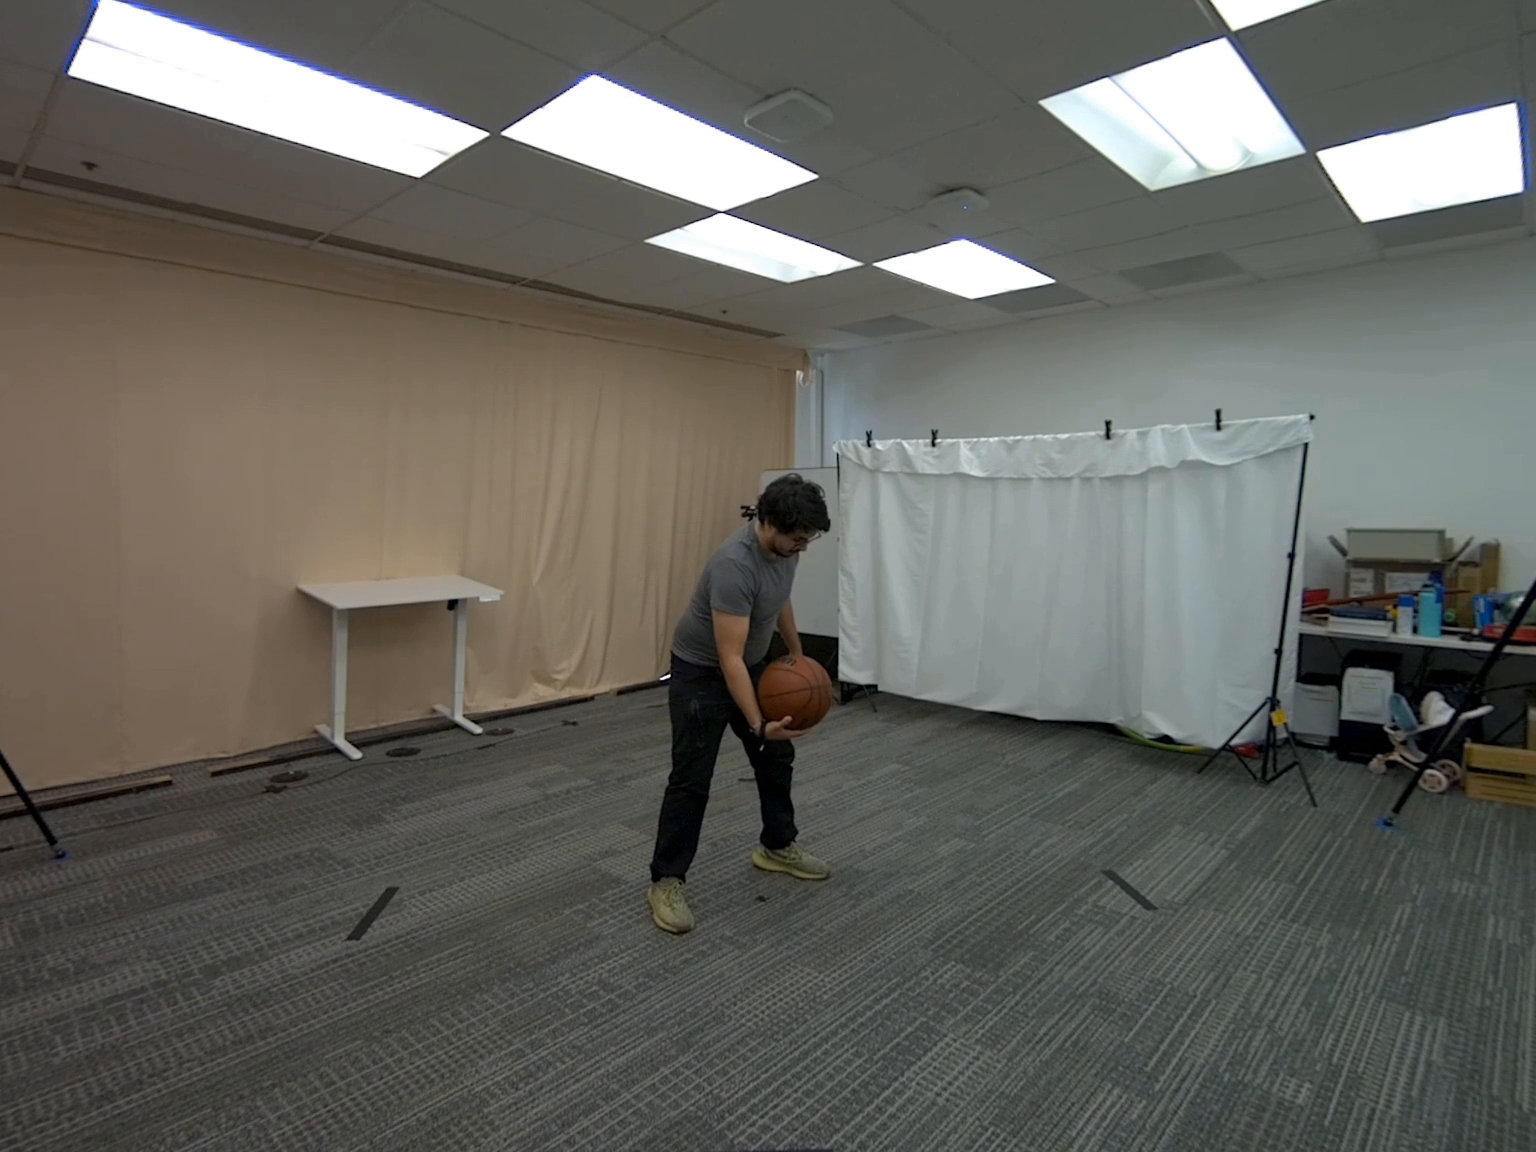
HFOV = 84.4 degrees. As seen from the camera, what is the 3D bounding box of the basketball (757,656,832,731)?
[{"bbox_3d":[0.089,0.376,2.689,0.236,0.235,0.237,0,4,-2],"label":"basketball"}]
